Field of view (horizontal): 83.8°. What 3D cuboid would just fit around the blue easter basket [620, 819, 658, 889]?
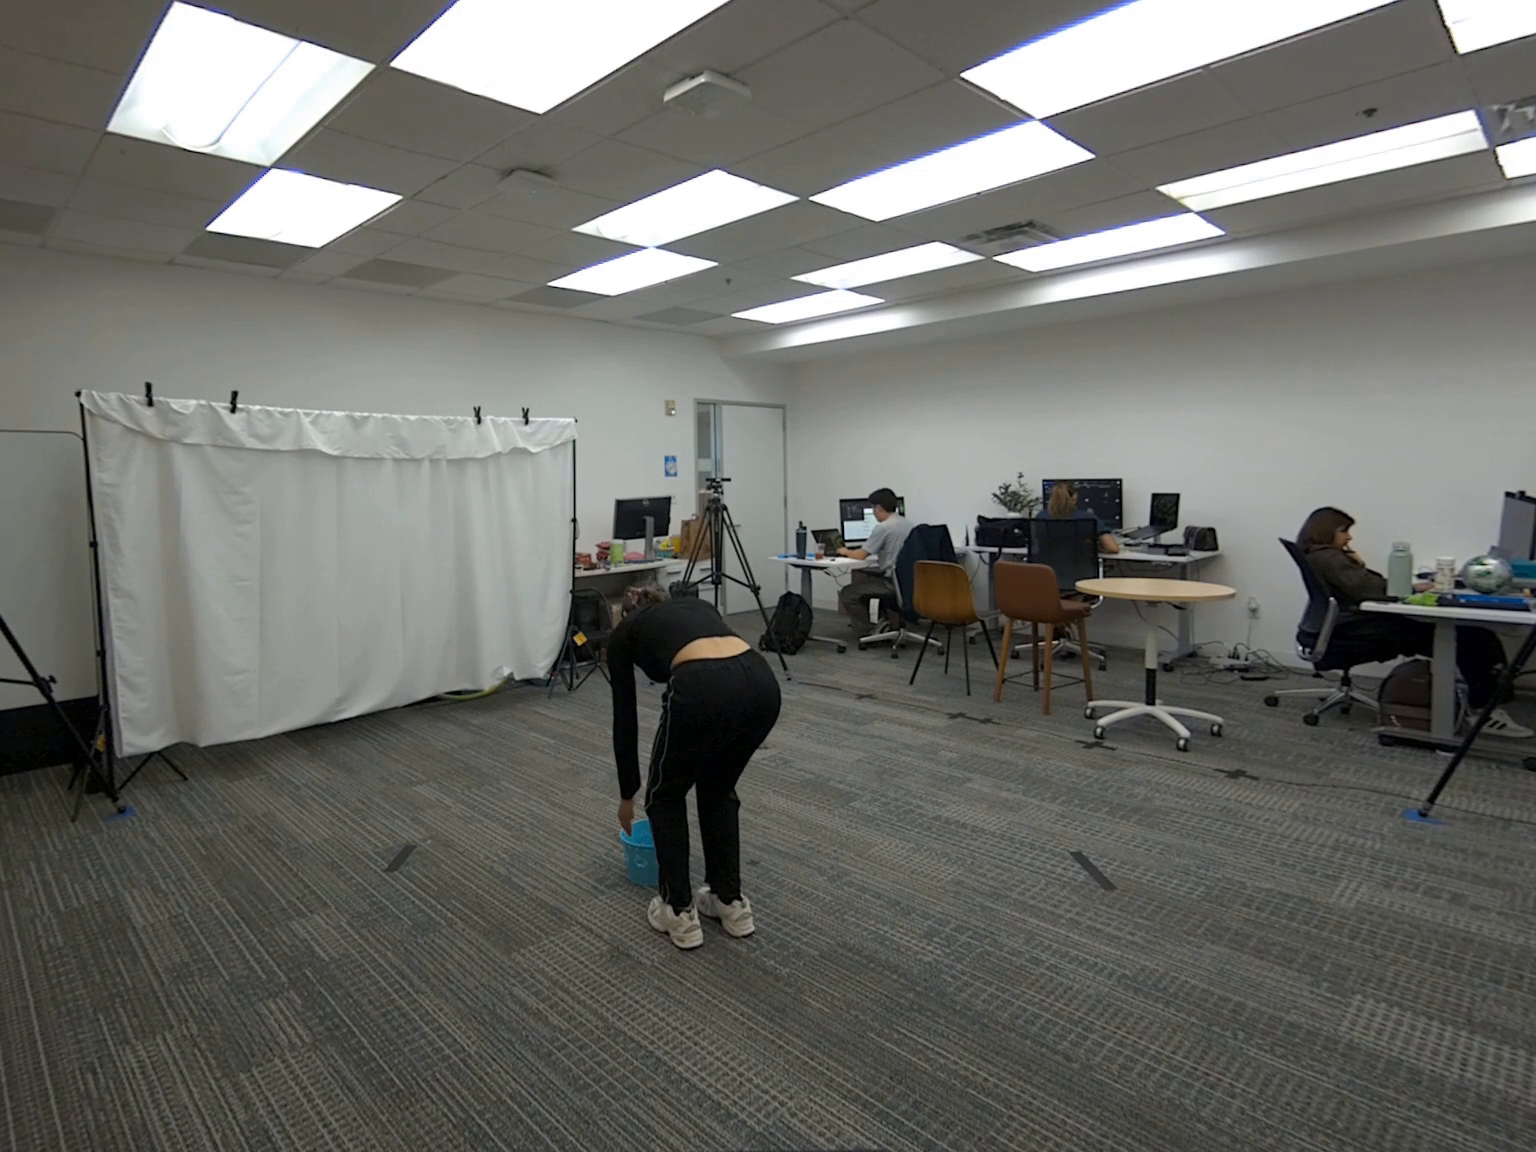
[{"bbox_3d":[-0.400,0.979,3.031,0.243,0.155,0.245,-1,6,-2],"label":"blue easter basket"}]
